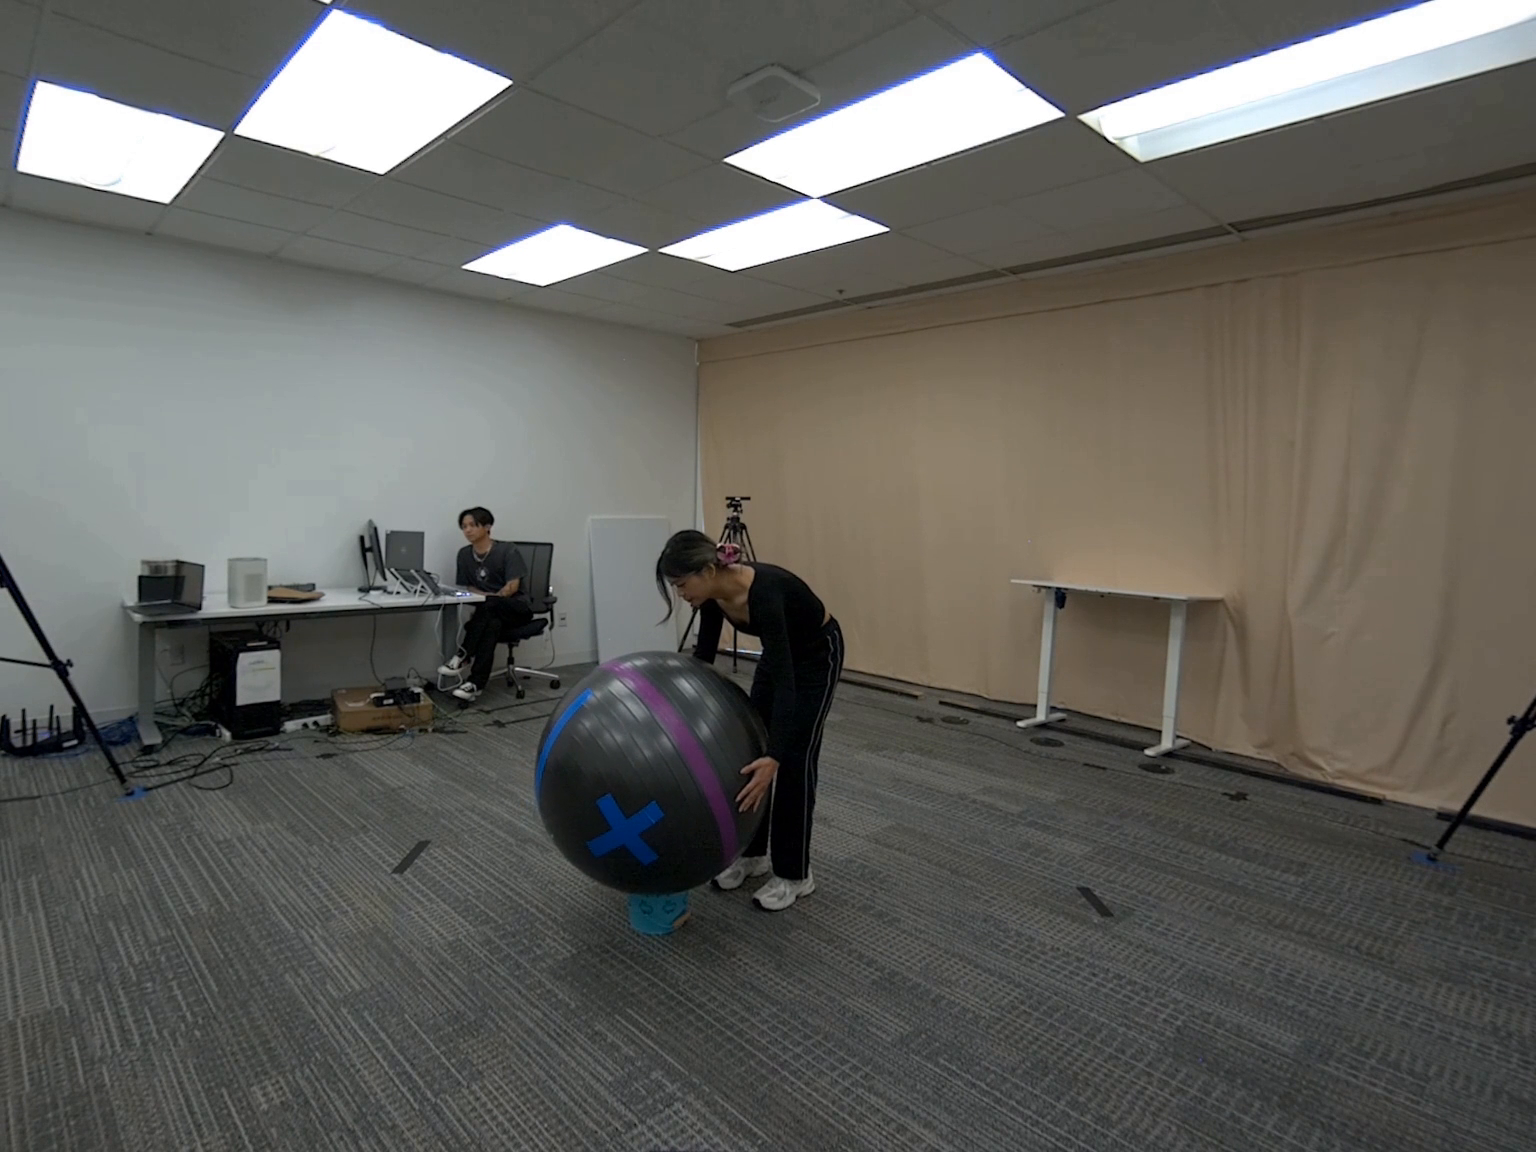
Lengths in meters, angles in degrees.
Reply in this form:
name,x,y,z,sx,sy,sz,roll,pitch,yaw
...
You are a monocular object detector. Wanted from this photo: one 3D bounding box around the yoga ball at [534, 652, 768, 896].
name,x,y,z,sx,sy,sz,roll,pitch,yaw
yoga ball,-0.369,0.631,2.705,0.757,0.756,0.761,1,4,-1
